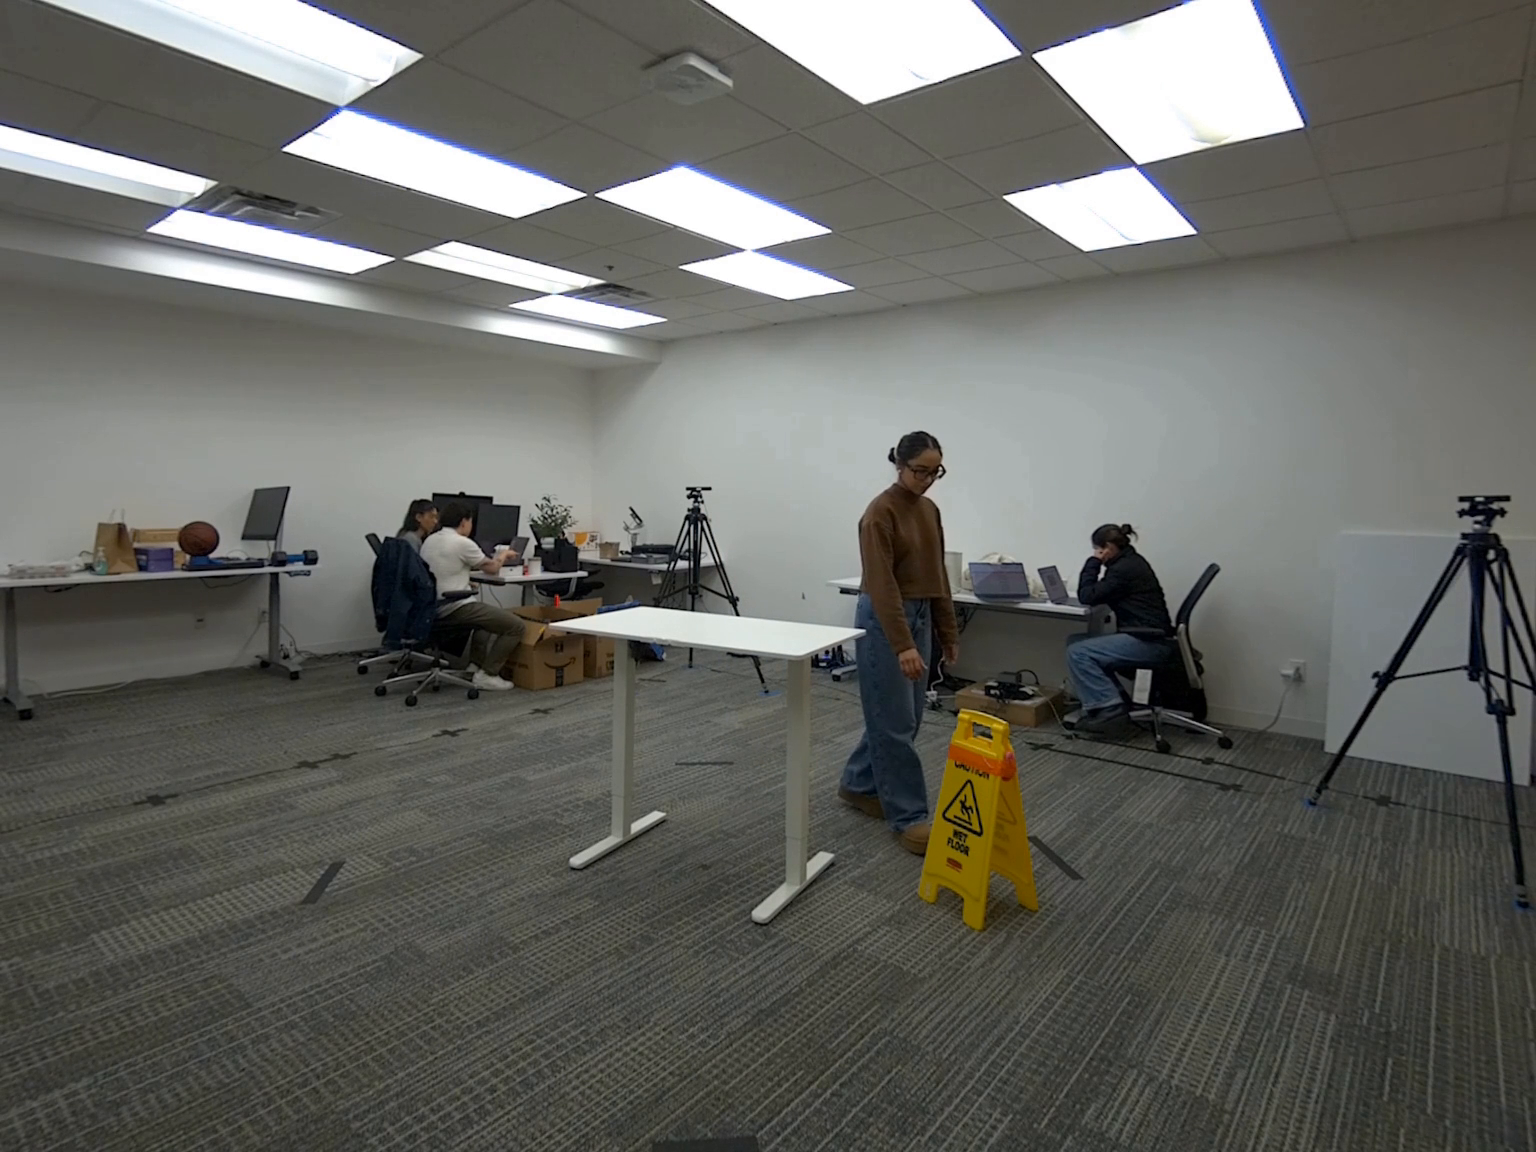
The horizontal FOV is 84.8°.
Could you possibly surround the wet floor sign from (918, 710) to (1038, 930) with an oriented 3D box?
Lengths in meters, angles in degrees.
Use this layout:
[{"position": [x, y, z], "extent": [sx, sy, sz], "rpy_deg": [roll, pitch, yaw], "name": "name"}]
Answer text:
[{"position": [0.722, 0.787, 2.876], "extent": [0.281, 0.644, 0.291], "rpy_deg": [0, 4, -33], "name": "wet floor sign"}]
